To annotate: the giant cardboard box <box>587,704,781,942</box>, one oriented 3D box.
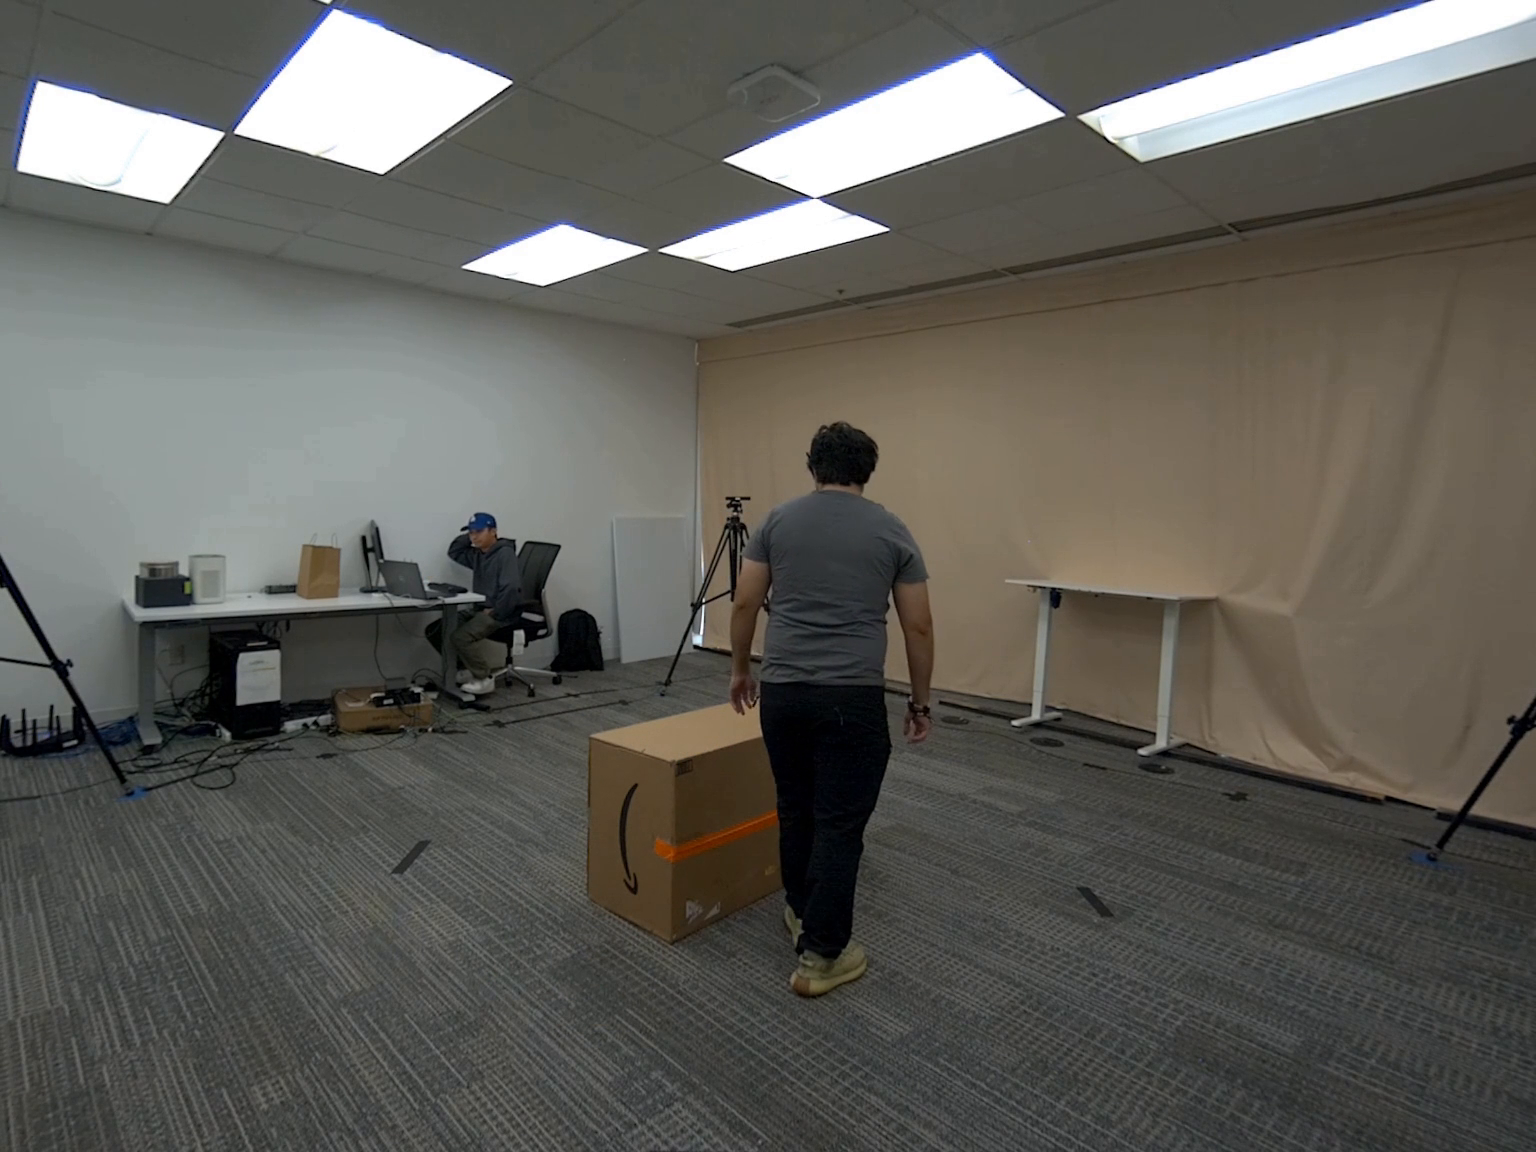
[{"bbox_3d":[-0.131,0.816,3.112,0.437,0.576,1.003,5,6,41],"label":"giant cardboard box"}]
